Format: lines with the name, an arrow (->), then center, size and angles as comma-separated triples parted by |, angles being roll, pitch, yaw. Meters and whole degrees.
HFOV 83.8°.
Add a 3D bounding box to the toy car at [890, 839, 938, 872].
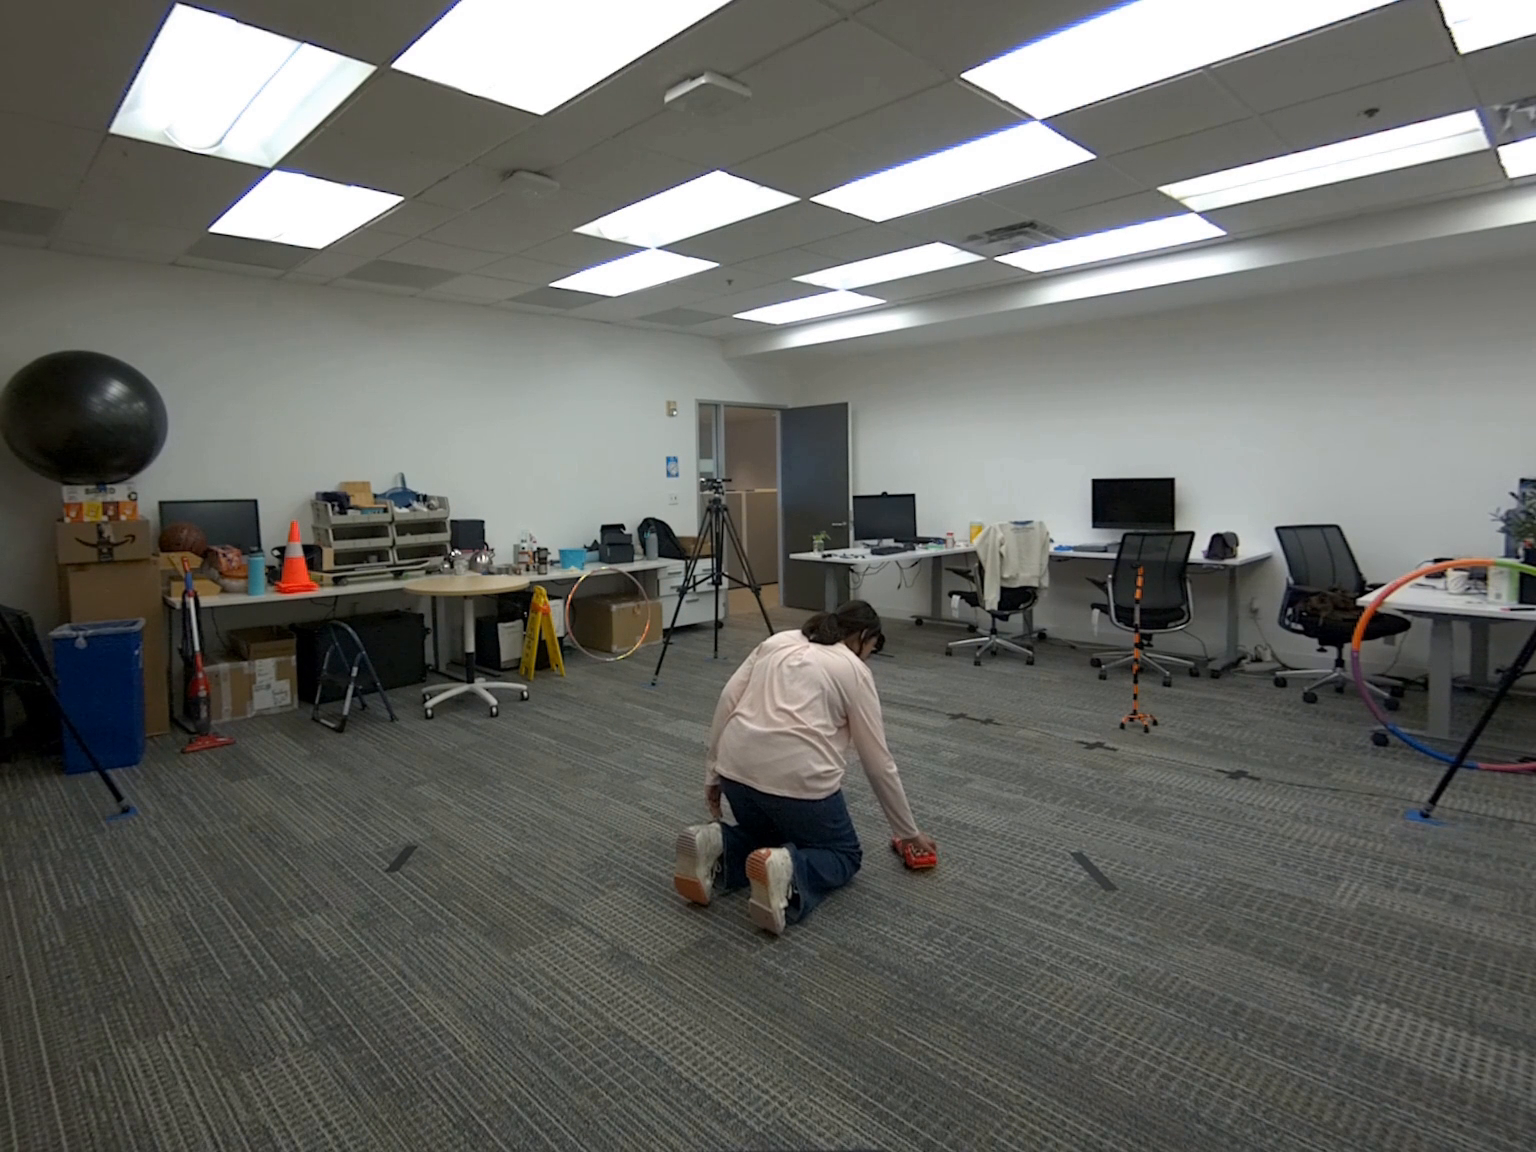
toy car -> 0.537, 1.002, 3.102 | 0.129, 0.083, 0.255 | -2, -4, -8
